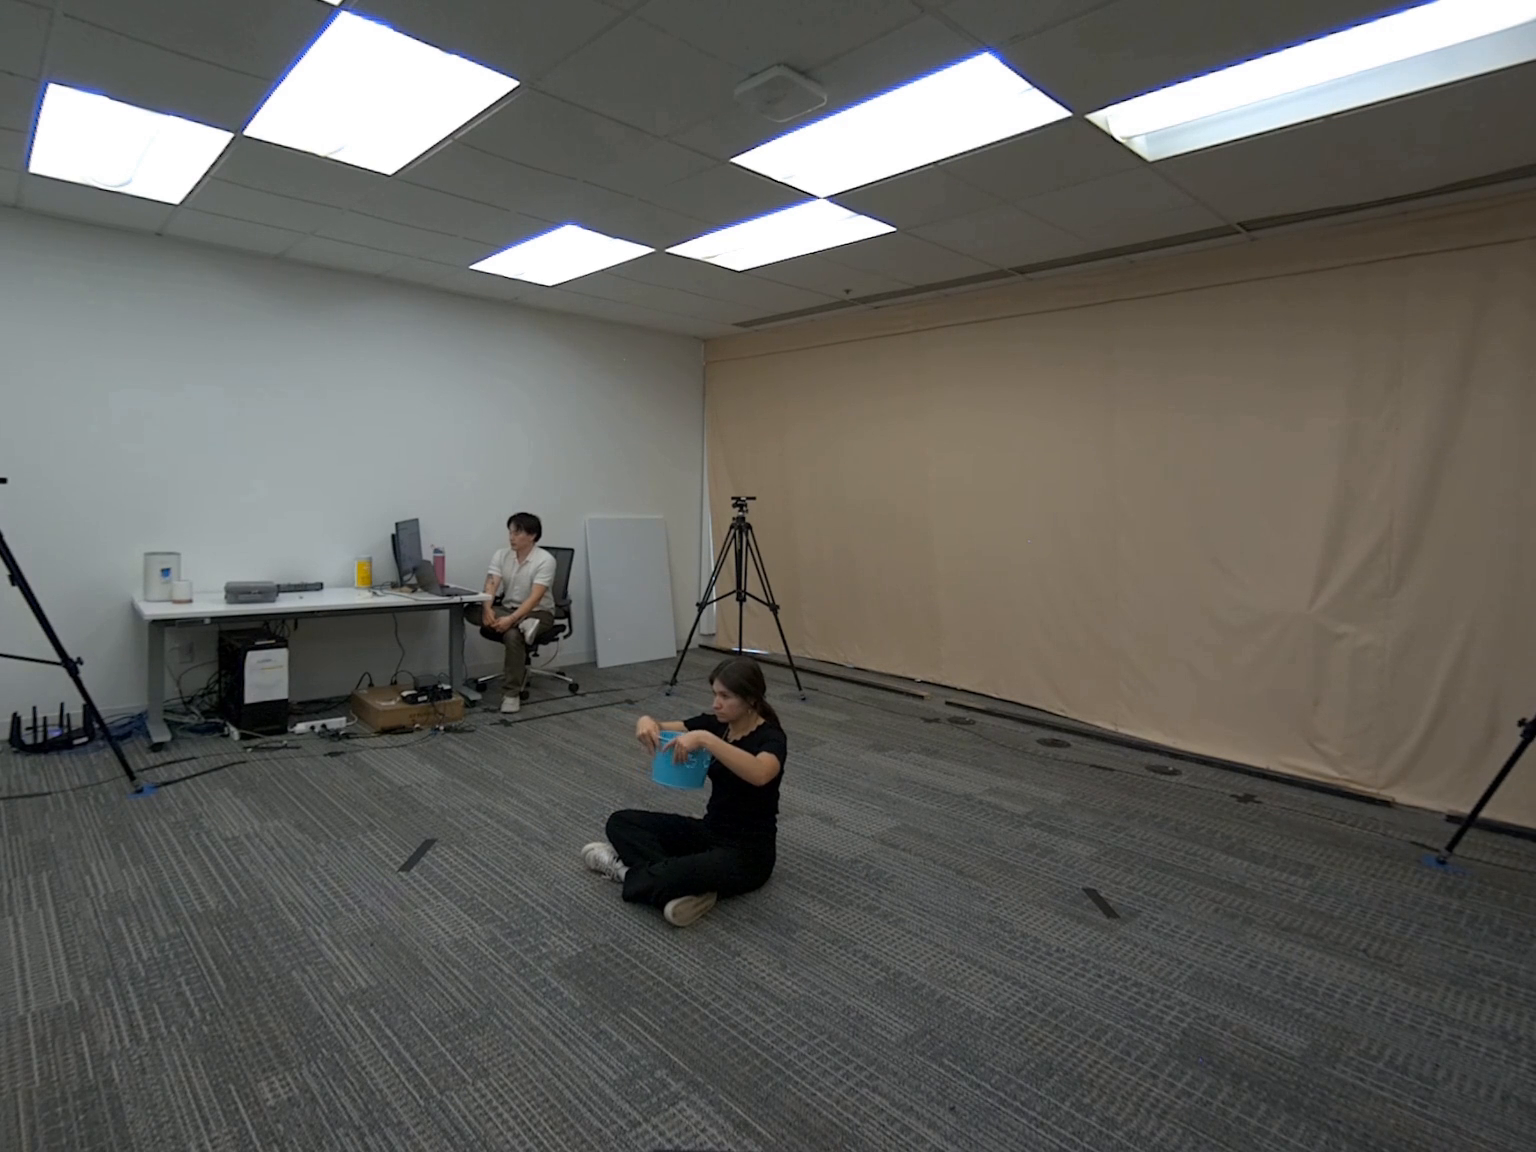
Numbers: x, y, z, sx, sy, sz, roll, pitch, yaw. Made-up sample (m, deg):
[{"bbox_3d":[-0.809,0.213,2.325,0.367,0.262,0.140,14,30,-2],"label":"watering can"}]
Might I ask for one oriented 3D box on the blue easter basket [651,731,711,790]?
[{"bbox_3d":[-0.311,0.636,2.906,0.243,0.156,0.243,9,-3,-1],"label":"blue easter basket"}]
